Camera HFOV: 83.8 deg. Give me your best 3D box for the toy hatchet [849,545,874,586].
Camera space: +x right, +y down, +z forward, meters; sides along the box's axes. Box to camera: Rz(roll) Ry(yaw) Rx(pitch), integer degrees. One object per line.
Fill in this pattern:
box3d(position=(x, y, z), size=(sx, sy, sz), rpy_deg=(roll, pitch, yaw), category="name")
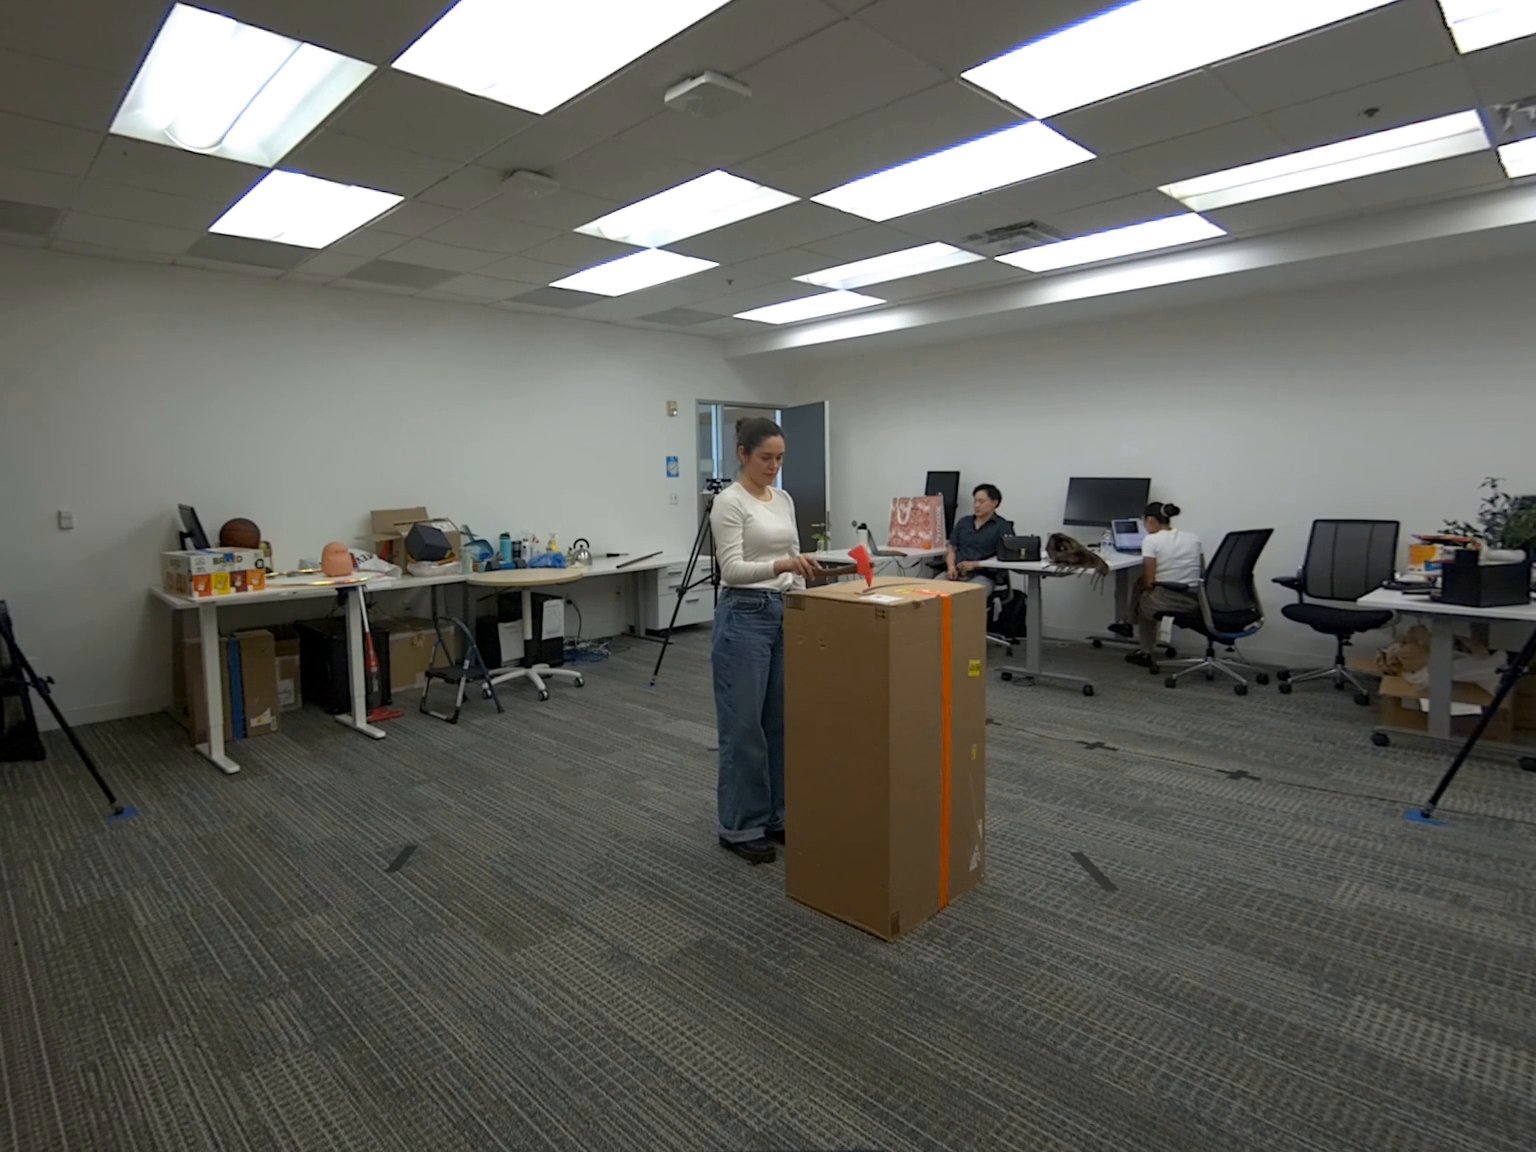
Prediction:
box3d(position=(0.229, -0.047, 2.786), size=(0.278, 0.130, 0.029), rpy_deg=(9, 13, 31), category="toy hatchet")
